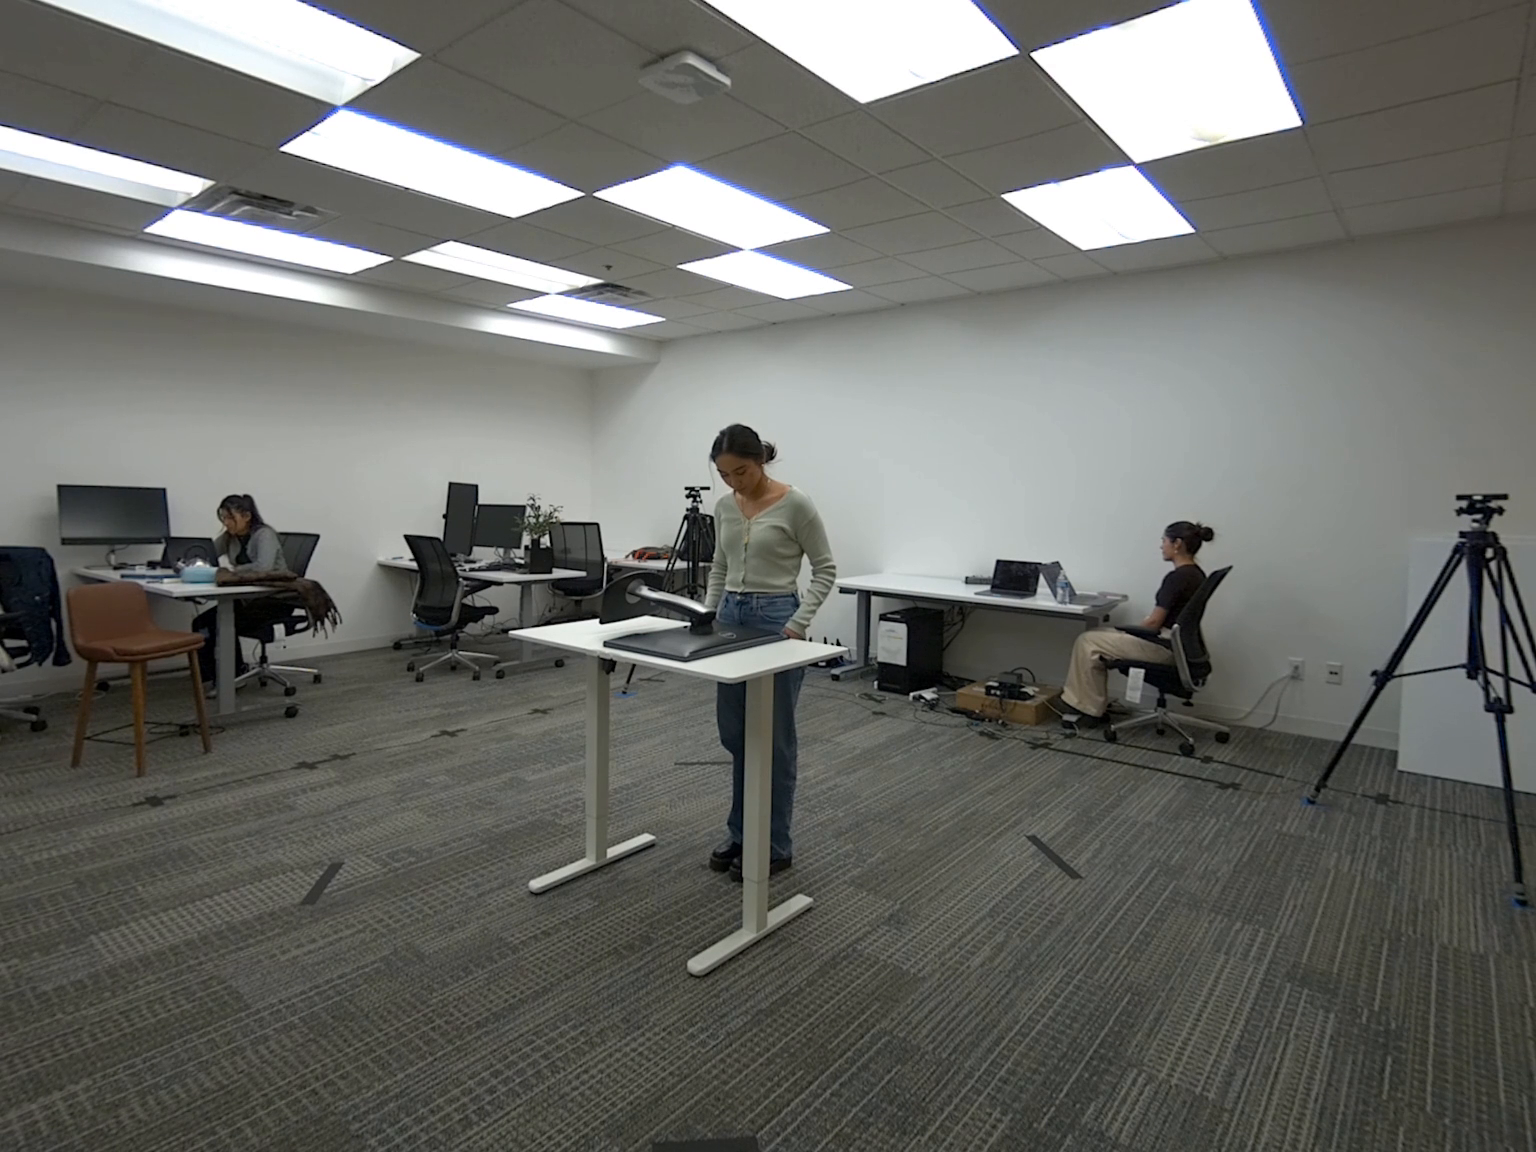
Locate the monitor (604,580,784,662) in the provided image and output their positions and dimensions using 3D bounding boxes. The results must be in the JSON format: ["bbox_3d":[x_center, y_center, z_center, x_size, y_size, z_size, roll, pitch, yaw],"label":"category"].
[{"bbox_3d":[-0.294,0.151,2.832,0.543,0.185,0.525,22,20,35],"label":"monitor"}]
